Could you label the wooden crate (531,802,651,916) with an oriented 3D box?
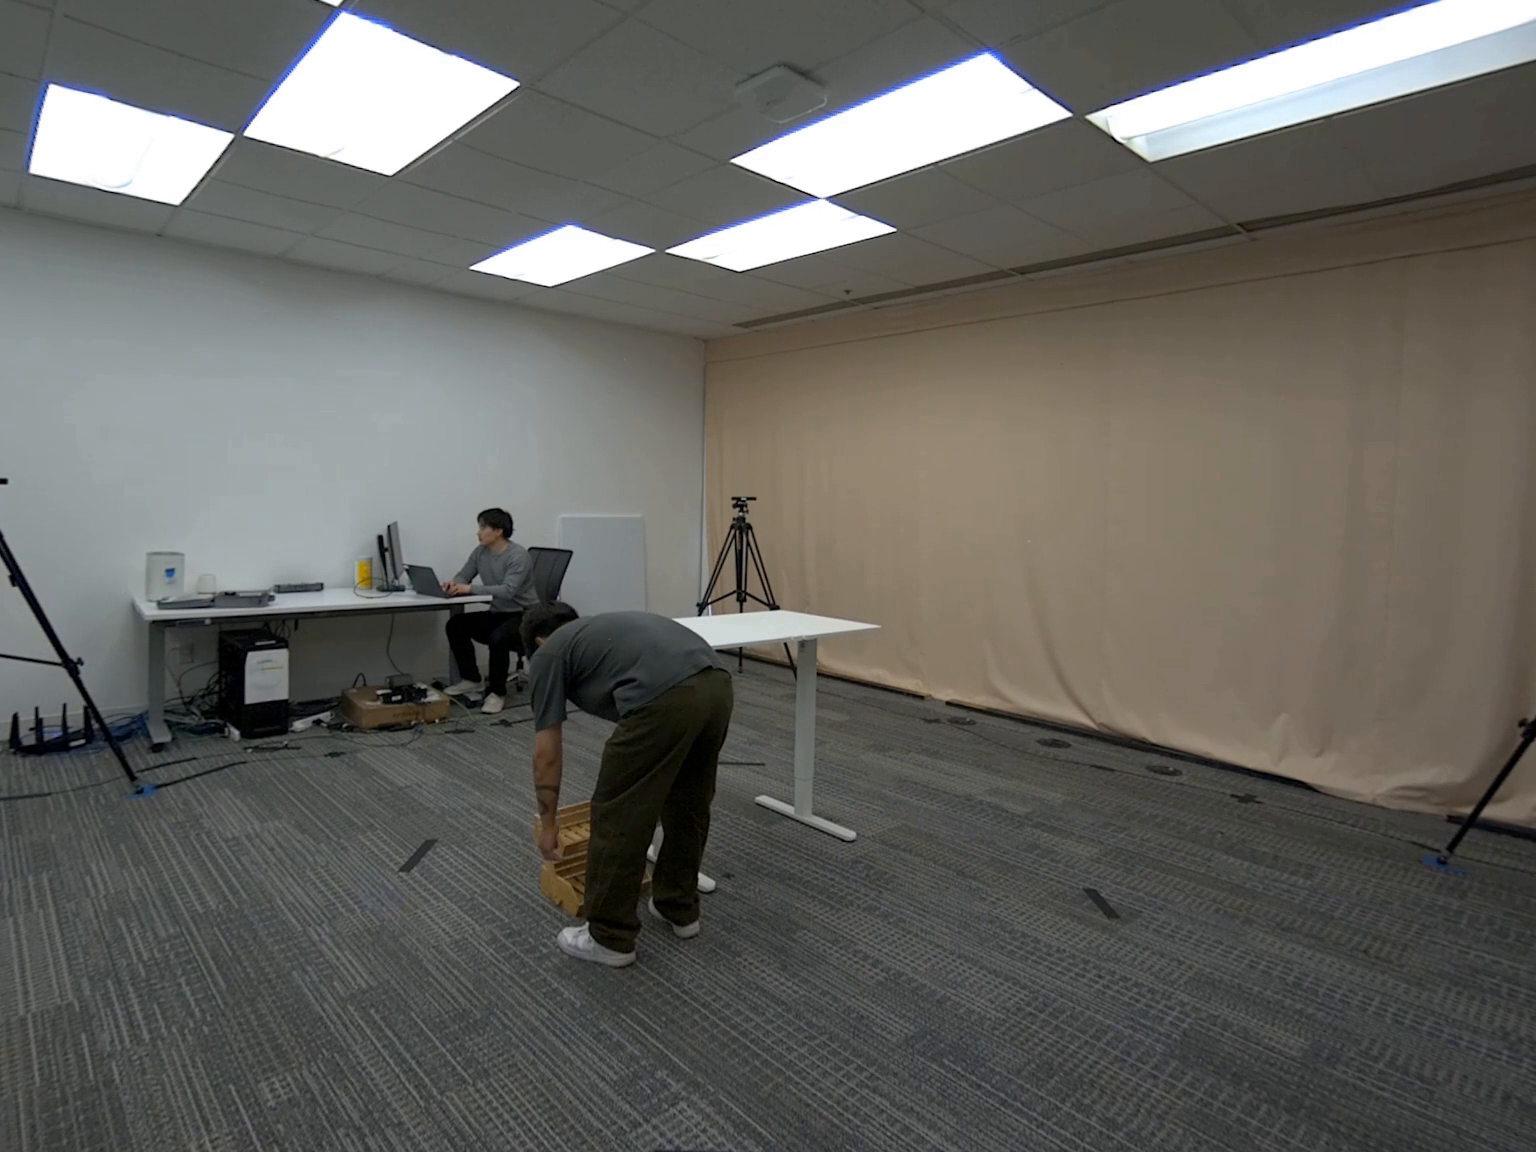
[{"bbox_3d":[-0.621,0.978,2.966,0.317,0.273,0.310,-2,5,-44],"label":"wooden crate"}]
